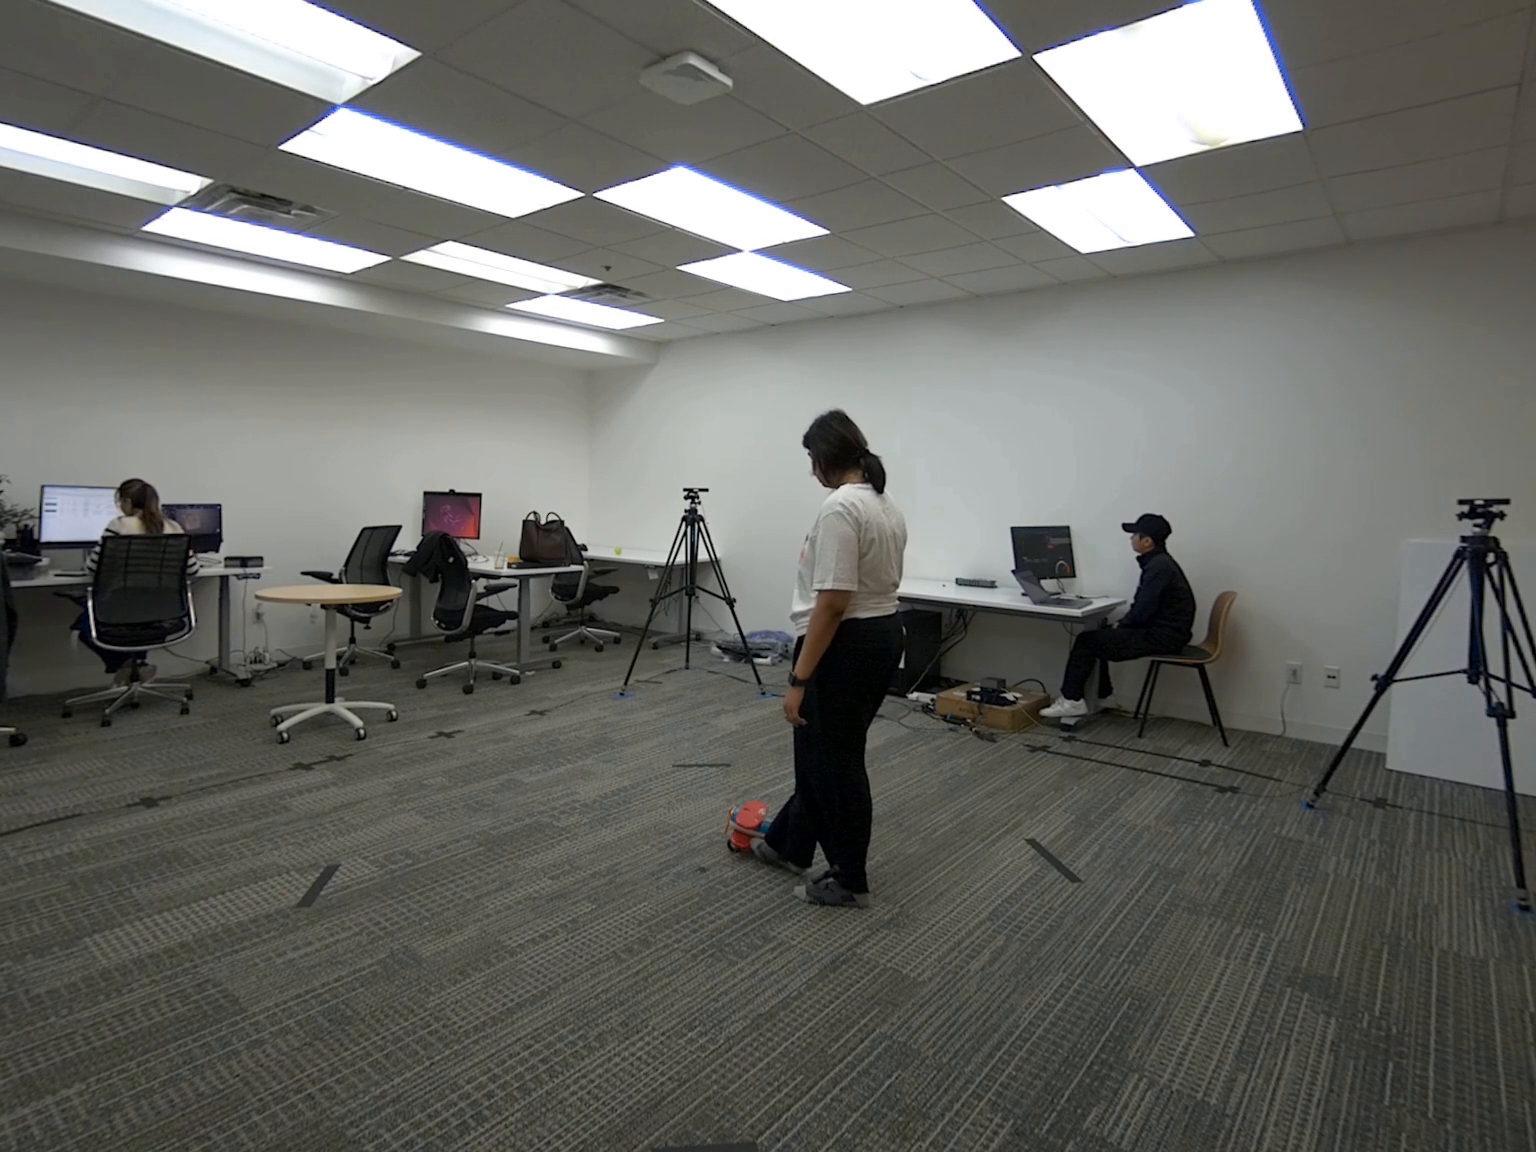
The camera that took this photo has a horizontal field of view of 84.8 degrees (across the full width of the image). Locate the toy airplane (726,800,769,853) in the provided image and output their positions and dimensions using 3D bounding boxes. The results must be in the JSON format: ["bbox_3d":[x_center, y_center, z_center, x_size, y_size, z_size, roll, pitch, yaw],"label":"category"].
[{"bbox_3d":[-0.044,0.976,3.303,0.256,0.156,0.255,-1,4,-11],"label":"toy airplane"}]
